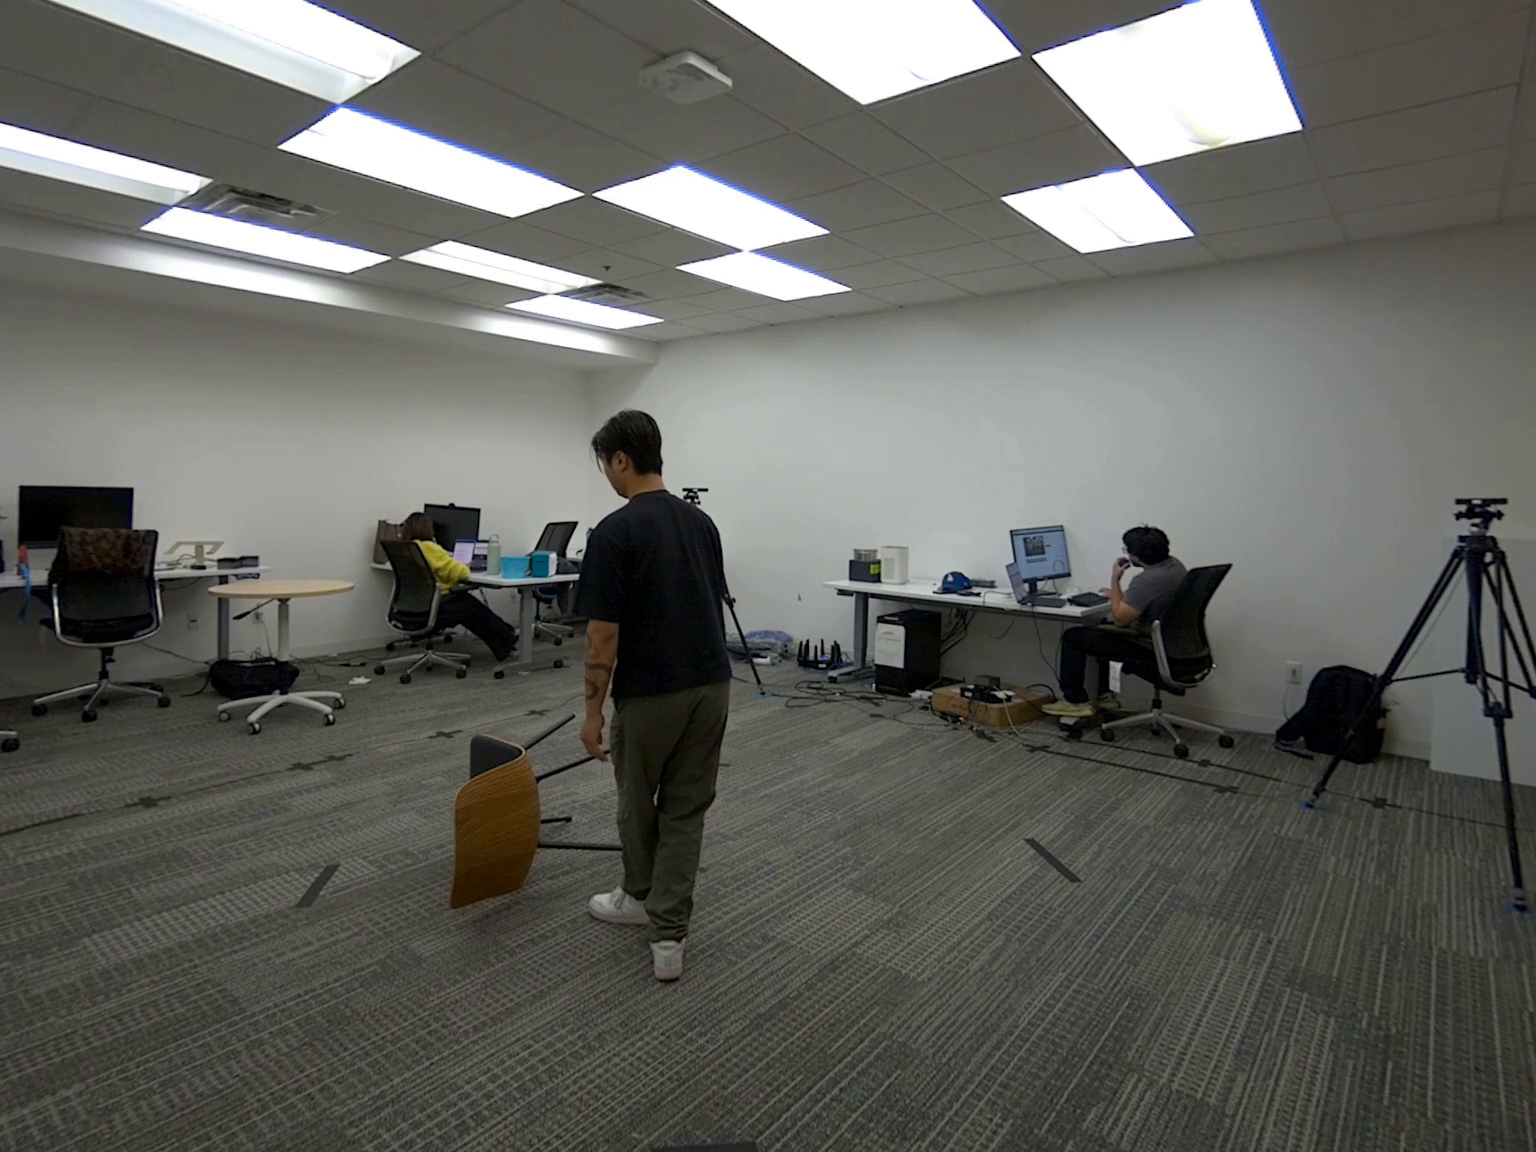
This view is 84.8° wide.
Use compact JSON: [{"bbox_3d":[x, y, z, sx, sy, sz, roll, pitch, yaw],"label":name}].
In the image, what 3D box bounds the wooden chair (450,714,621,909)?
[{"bbox_3d":[-0.930,0.830,3.084,0.540,0.476,0.852,5,6,36],"label":"wooden chair"}]
